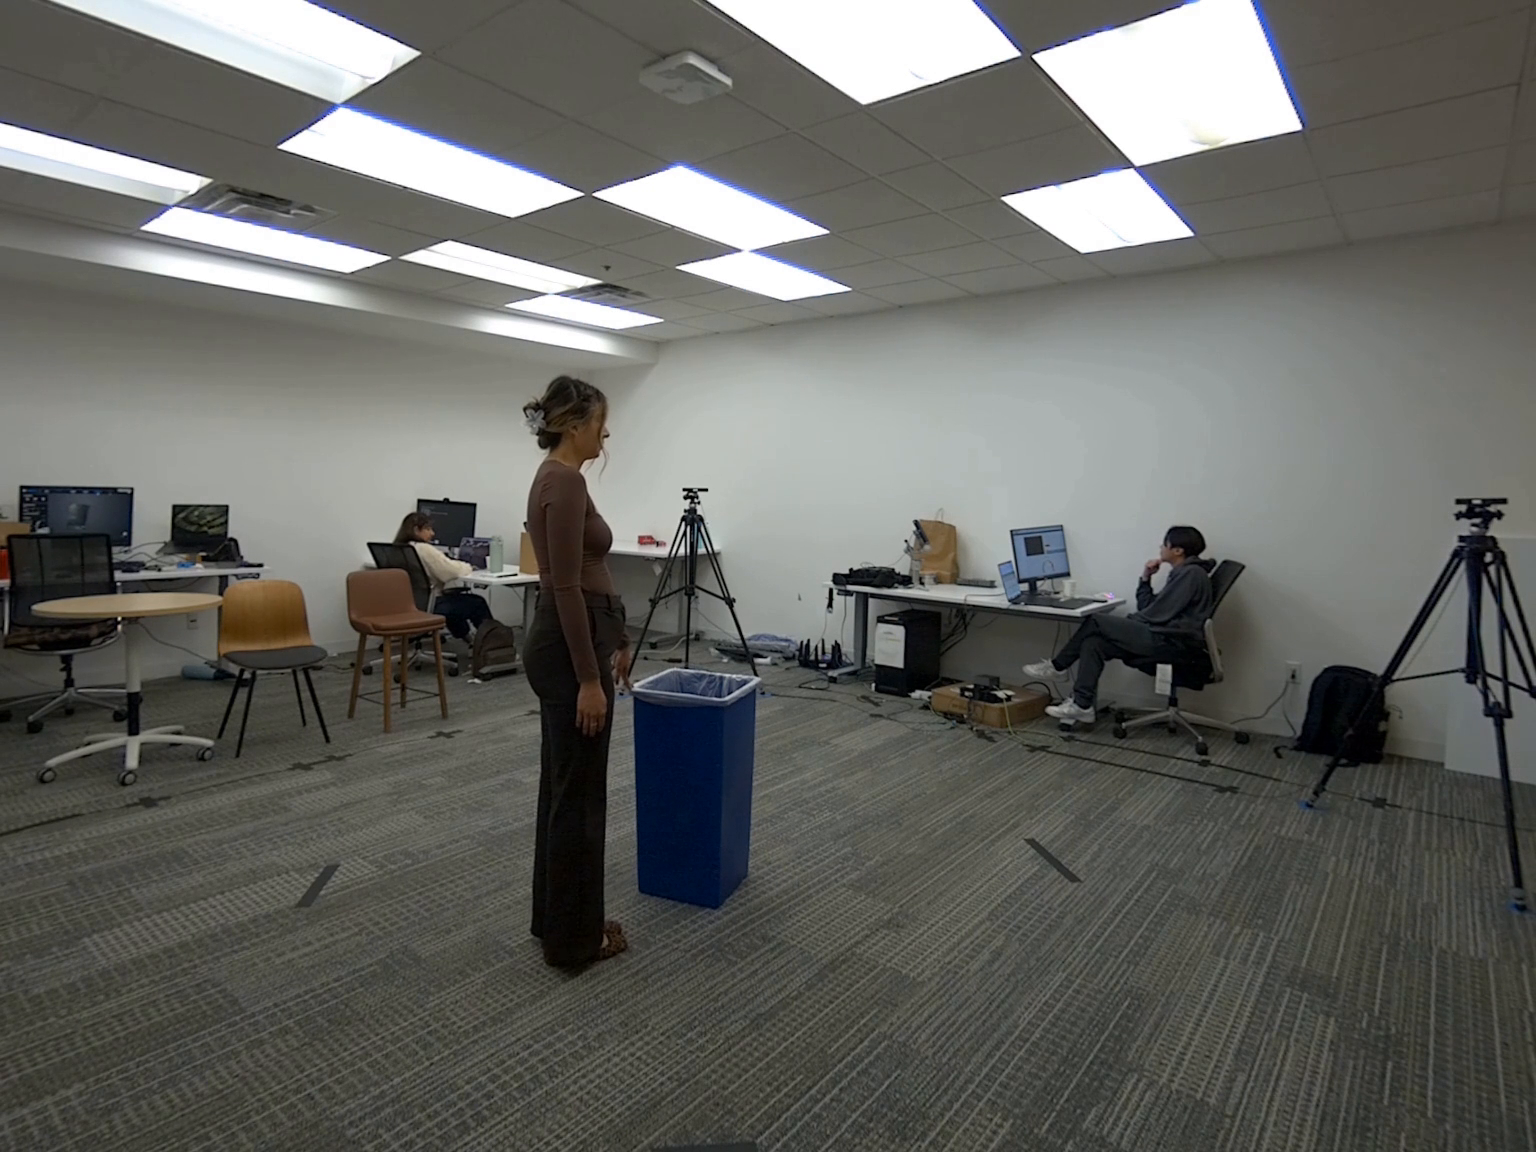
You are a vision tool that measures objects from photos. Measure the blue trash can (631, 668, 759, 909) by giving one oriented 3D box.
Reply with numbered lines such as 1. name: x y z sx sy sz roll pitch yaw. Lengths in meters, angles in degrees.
1. blue trash can: -0.261 0.721 2.977 0.387 0.712 0.366 2 3 21
